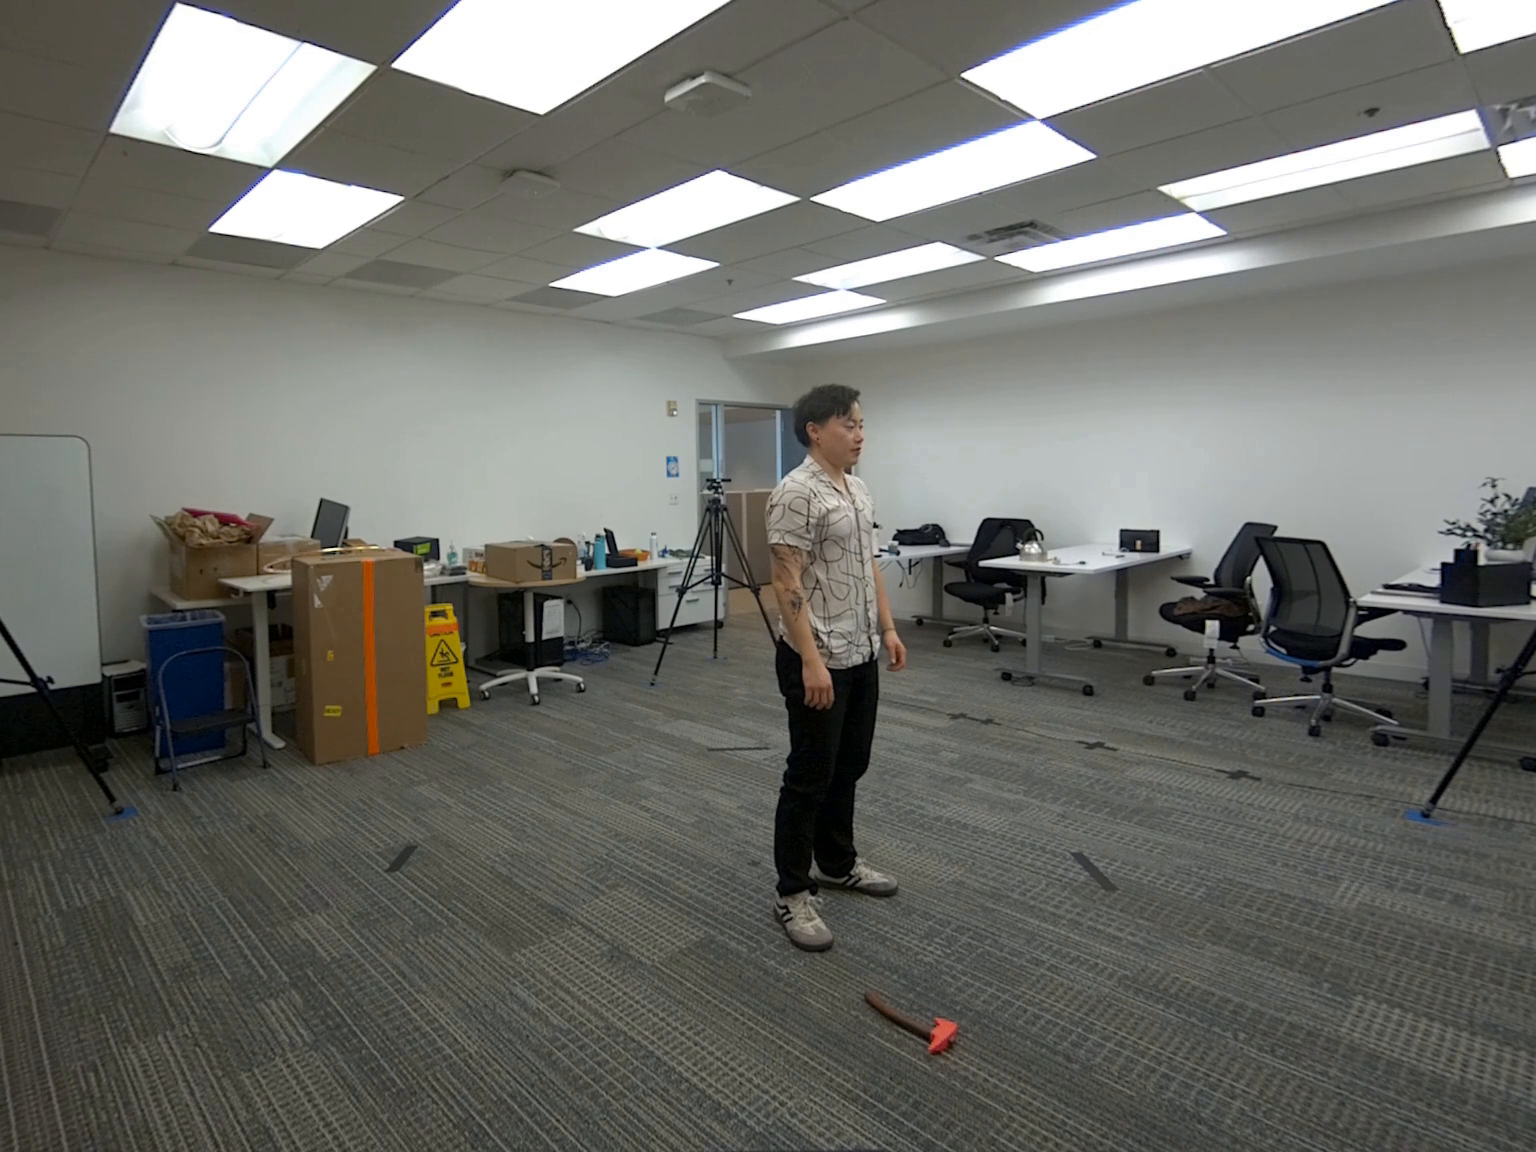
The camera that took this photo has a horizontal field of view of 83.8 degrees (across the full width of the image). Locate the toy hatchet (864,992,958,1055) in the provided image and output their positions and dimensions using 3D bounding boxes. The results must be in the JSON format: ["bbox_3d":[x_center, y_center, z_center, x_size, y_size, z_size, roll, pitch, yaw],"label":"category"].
[{"bbox_3d":[0.384,1.134,2.190,0.128,0.029,0.277,-7,7,-30],"label":"toy hatchet"}]
